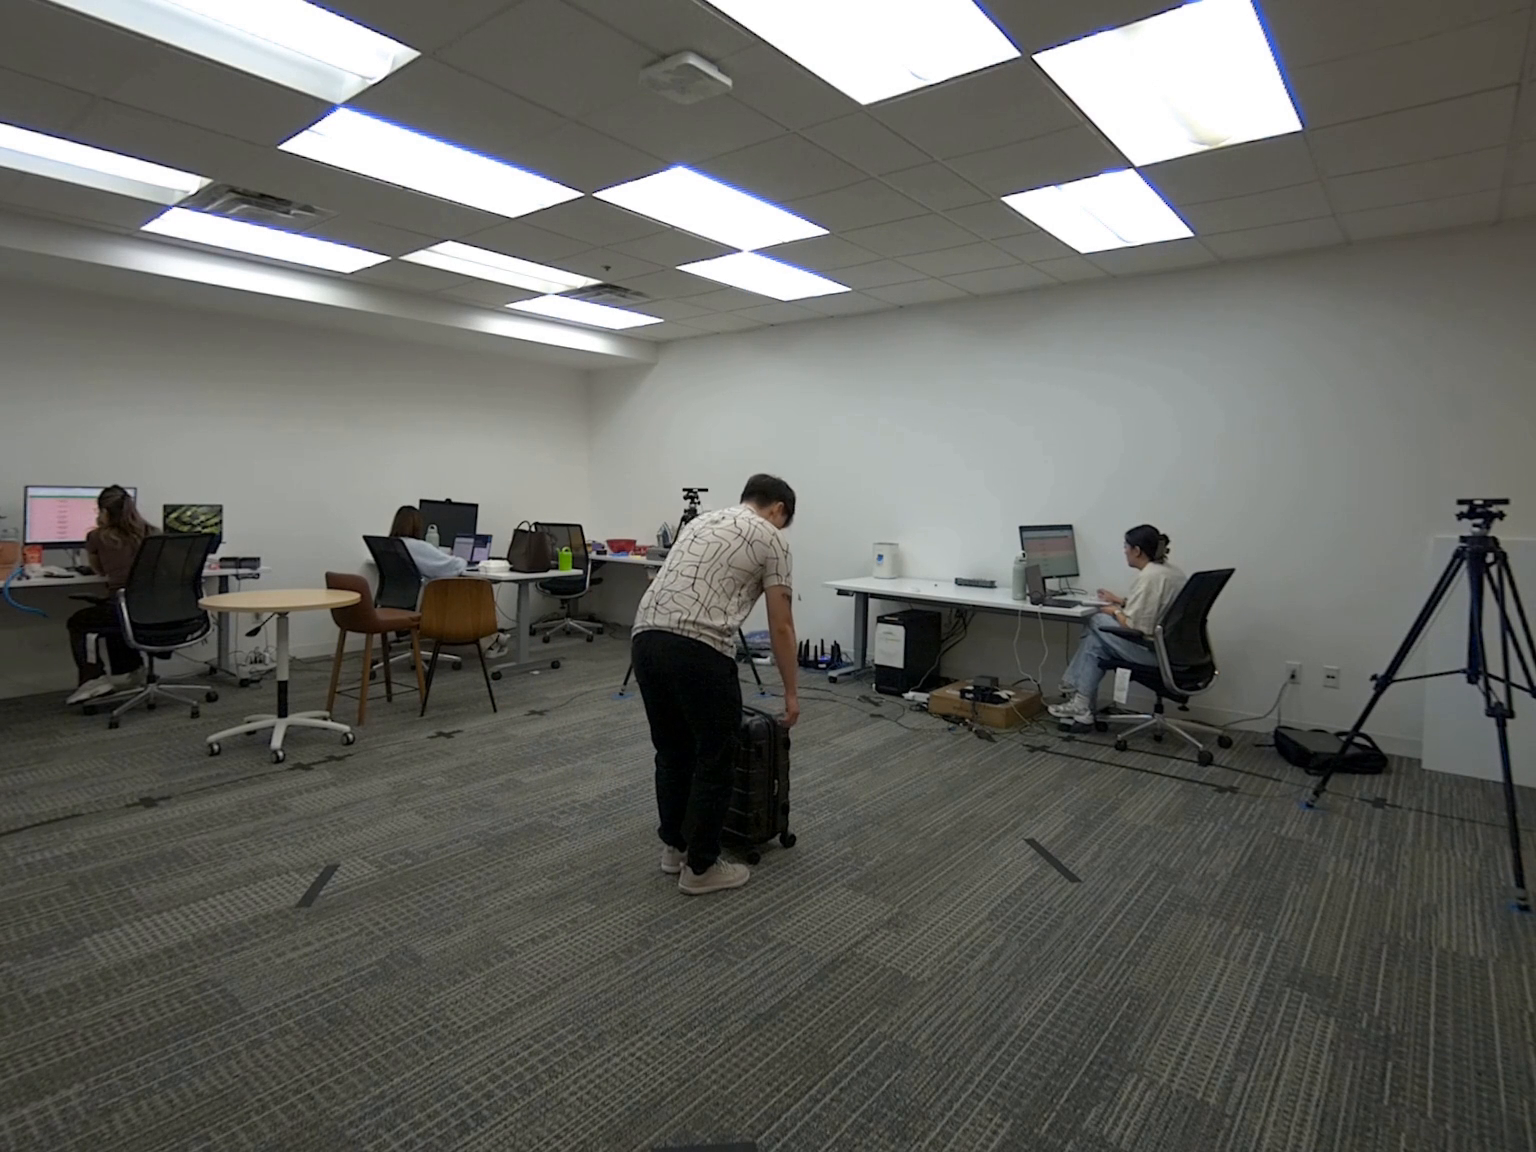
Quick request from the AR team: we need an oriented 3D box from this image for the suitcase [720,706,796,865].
[{"bbox_3d":[-0.119,0.769,3.342,0.388,0.548,0.241,3,3,44],"label":"suitcase"}]
